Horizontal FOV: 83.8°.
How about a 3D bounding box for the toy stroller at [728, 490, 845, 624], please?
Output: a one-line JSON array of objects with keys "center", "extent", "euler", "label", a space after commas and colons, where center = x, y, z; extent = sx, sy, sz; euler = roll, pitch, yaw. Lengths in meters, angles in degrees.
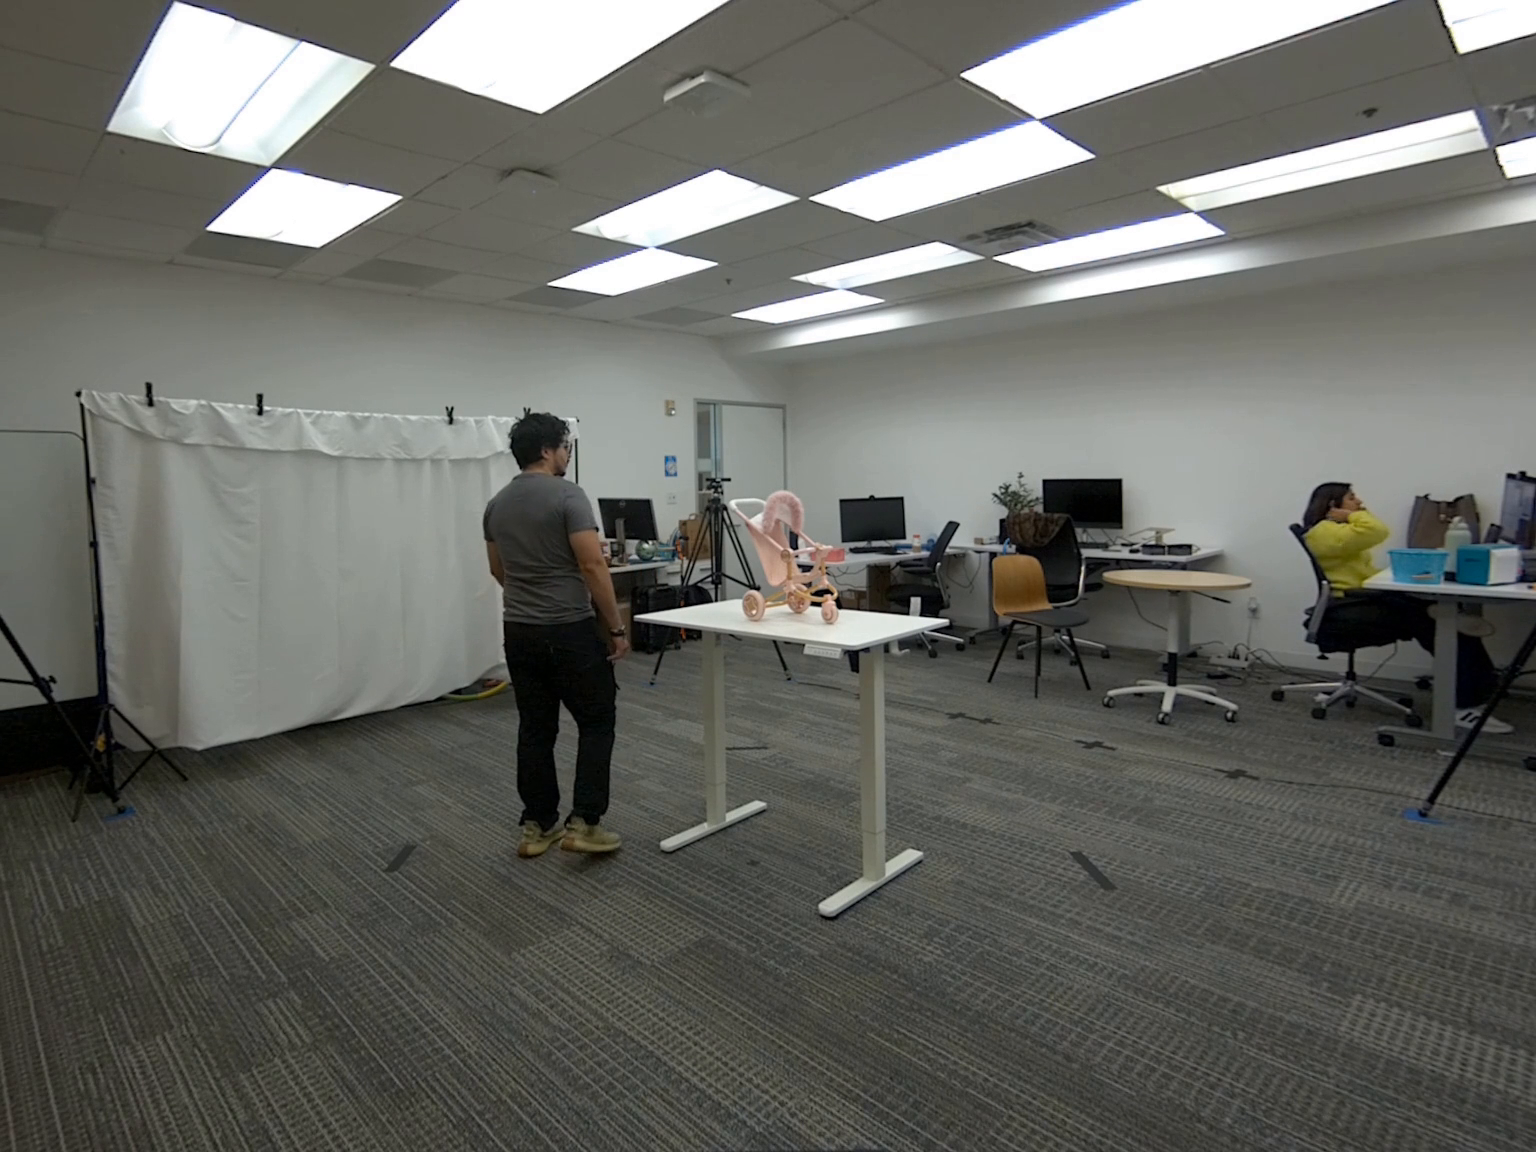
[{"center": [0.075, -0.068, 3.097], "extent": [0.274, 0.540, 0.347], "euler": [-5, -10, -42], "label": "toy stroller"}]
